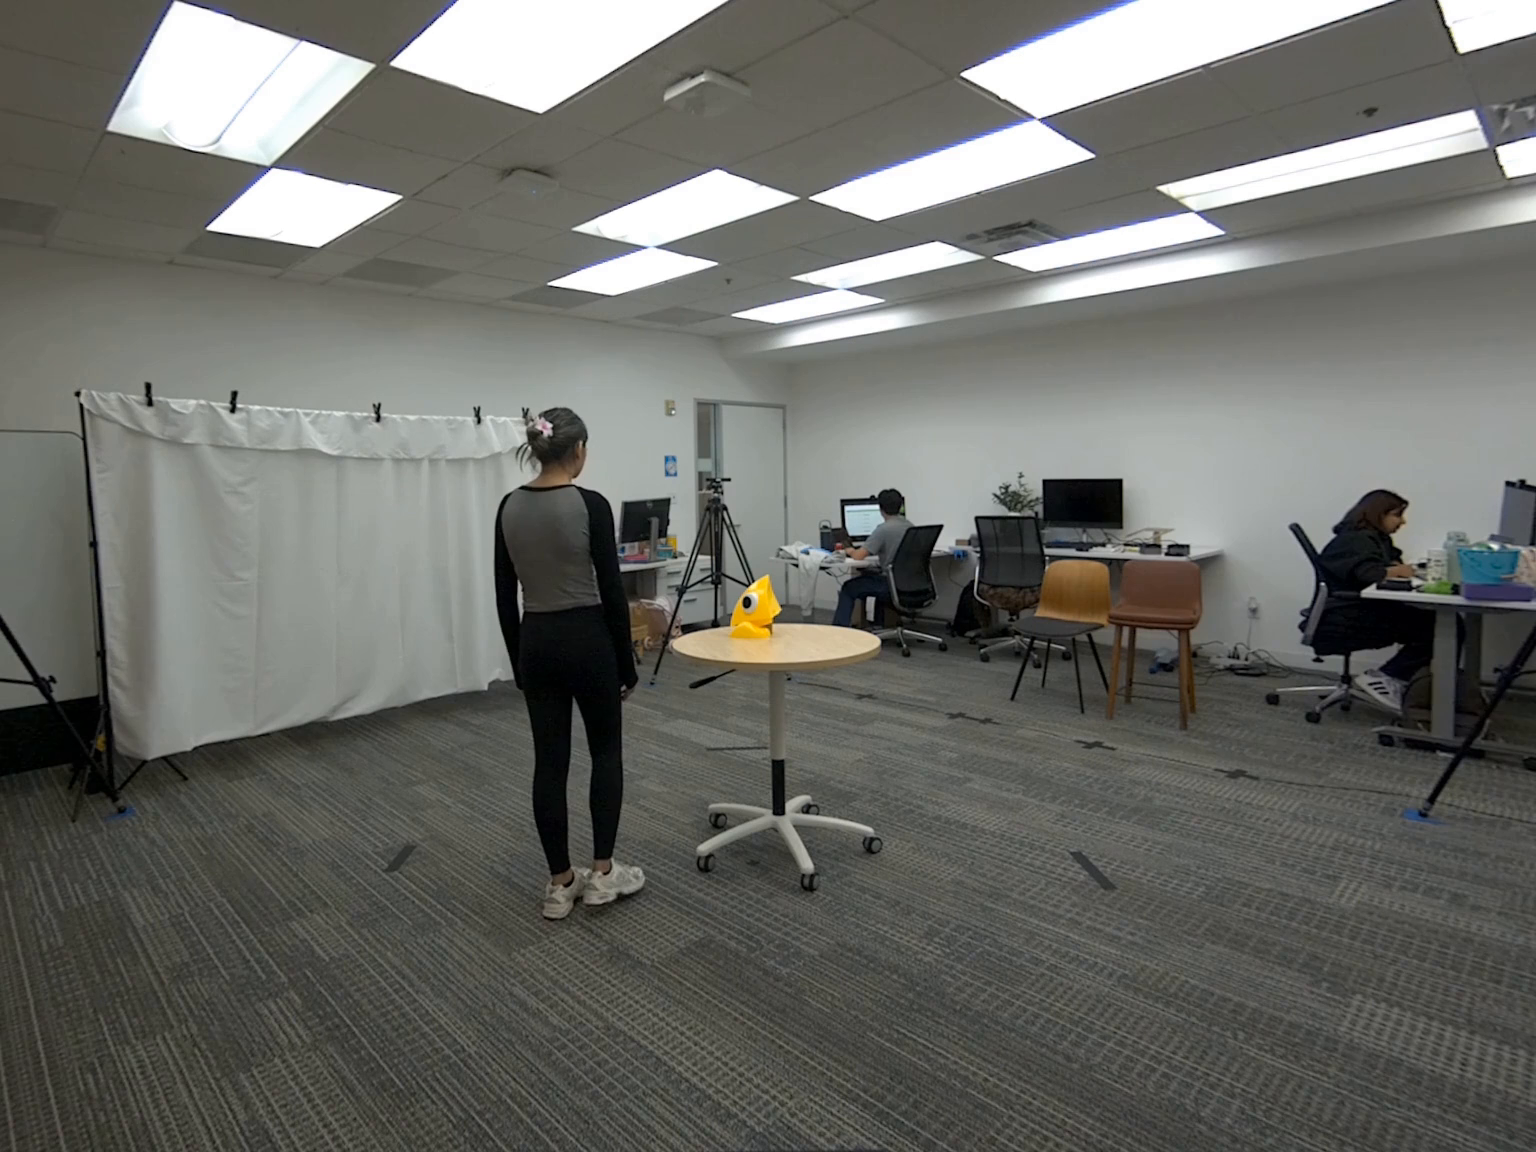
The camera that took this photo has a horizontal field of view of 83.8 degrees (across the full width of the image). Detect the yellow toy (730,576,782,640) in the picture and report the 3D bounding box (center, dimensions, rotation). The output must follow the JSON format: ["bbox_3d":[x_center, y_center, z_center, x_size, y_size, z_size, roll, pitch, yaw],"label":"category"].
[{"bbox_3d":[-0.050,0.110,3.319,0.196,0.230,0.203,1,5,13],"label":"yellow toy"}]
